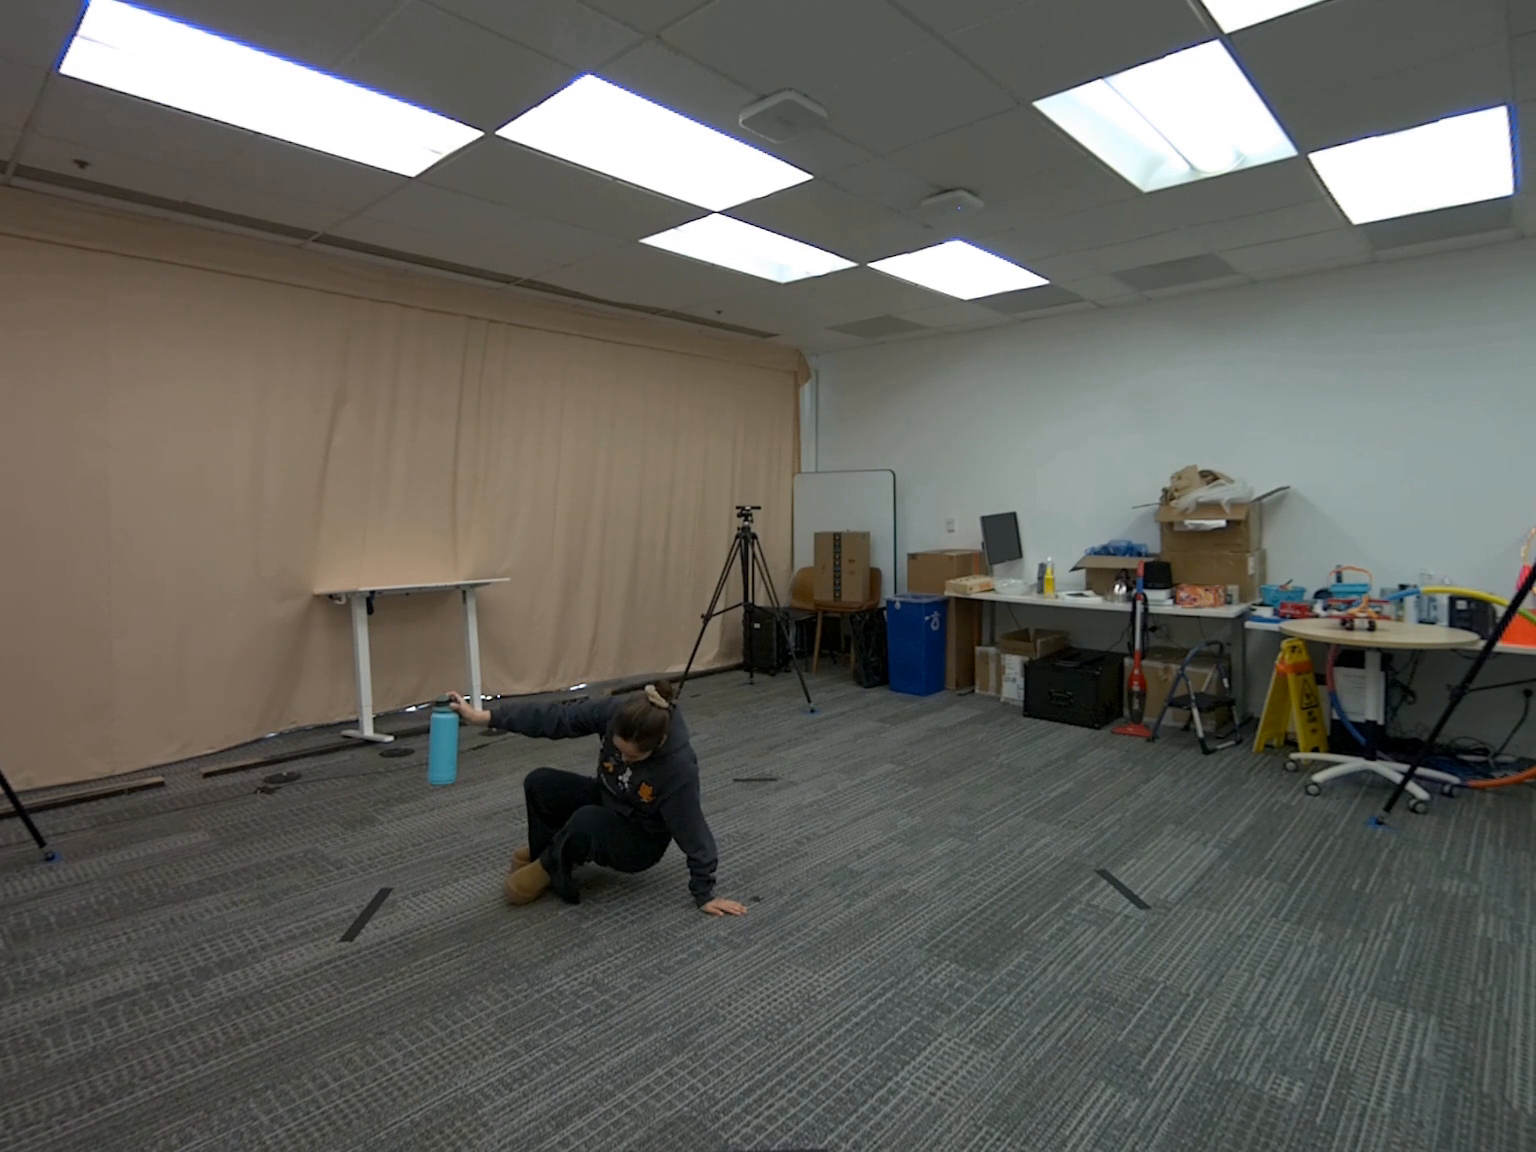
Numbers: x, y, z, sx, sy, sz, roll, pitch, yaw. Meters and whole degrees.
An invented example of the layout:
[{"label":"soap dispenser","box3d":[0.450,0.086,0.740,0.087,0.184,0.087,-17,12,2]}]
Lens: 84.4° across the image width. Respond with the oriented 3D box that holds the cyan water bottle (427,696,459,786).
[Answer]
[{"label":"cyan water bottle","box3d":[-1.055,0.545,2.789,0.092,0.284,0.092,1,-2,-2]}]
